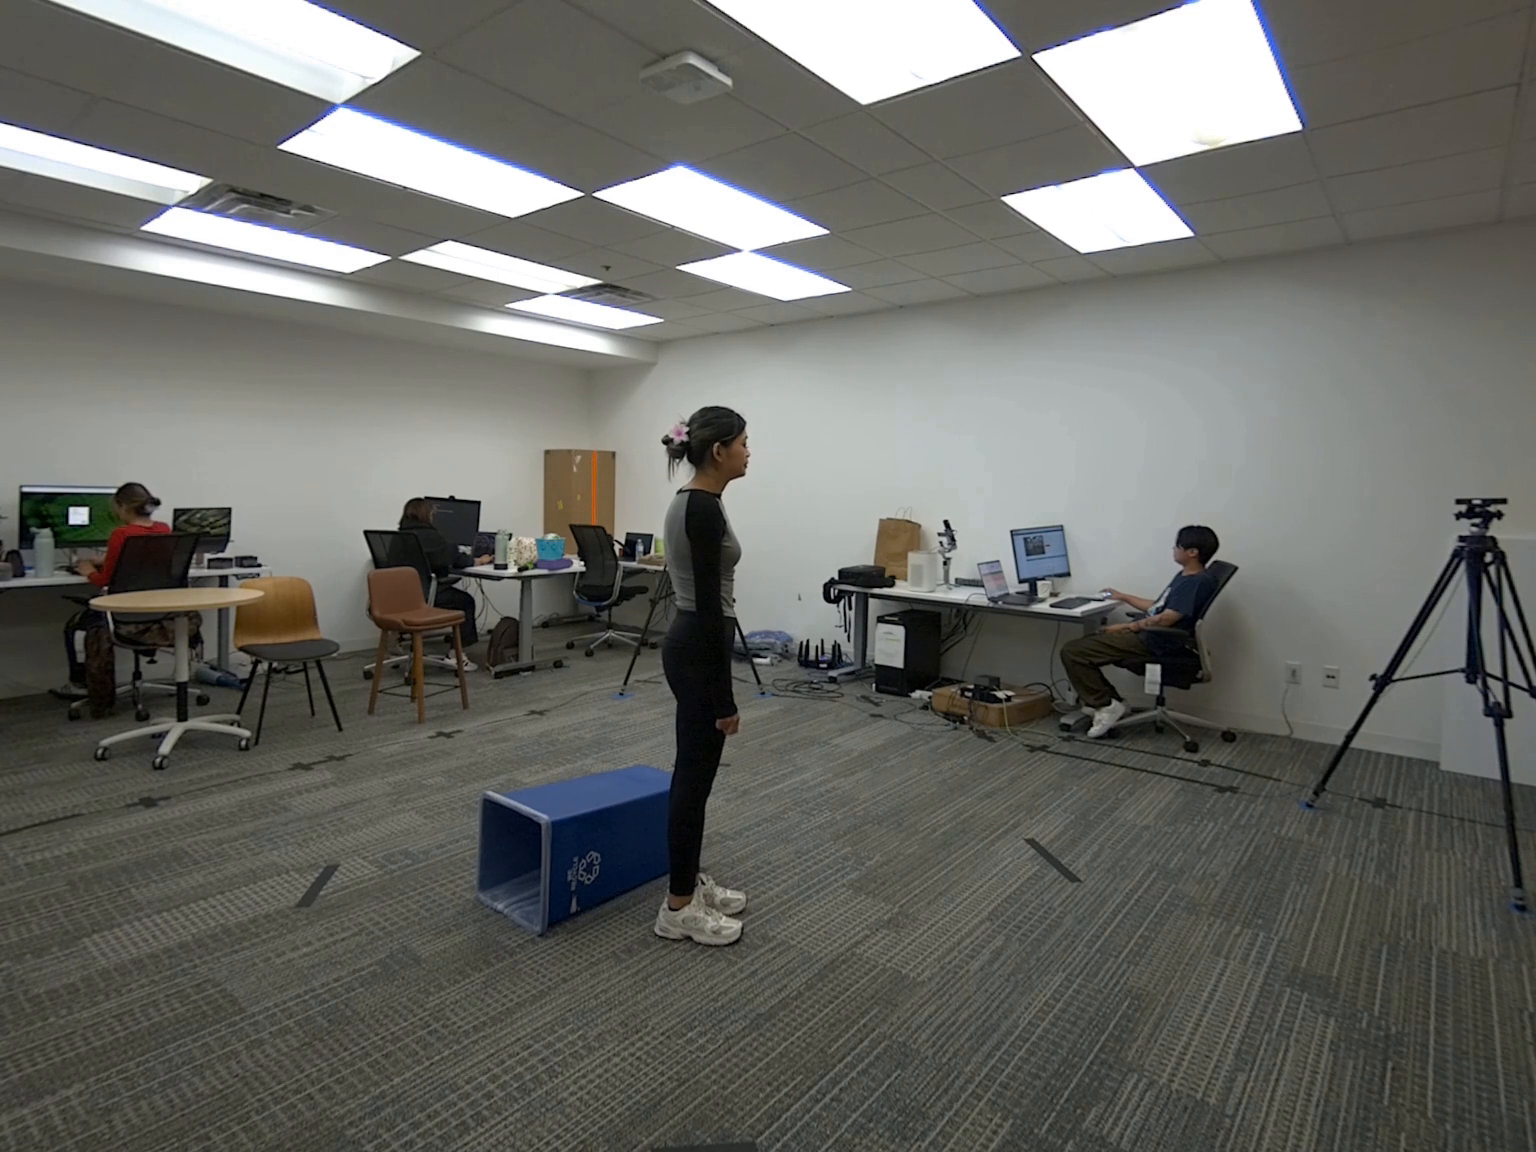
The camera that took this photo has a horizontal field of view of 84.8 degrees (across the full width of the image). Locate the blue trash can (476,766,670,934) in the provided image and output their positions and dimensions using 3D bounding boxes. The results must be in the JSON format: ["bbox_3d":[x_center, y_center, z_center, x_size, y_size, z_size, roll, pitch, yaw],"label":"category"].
[{"bbox_3d":[-0.628,0.901,3.002,0.390,0.373,0.691,3,3,39],"label":"blue trash can"}]
